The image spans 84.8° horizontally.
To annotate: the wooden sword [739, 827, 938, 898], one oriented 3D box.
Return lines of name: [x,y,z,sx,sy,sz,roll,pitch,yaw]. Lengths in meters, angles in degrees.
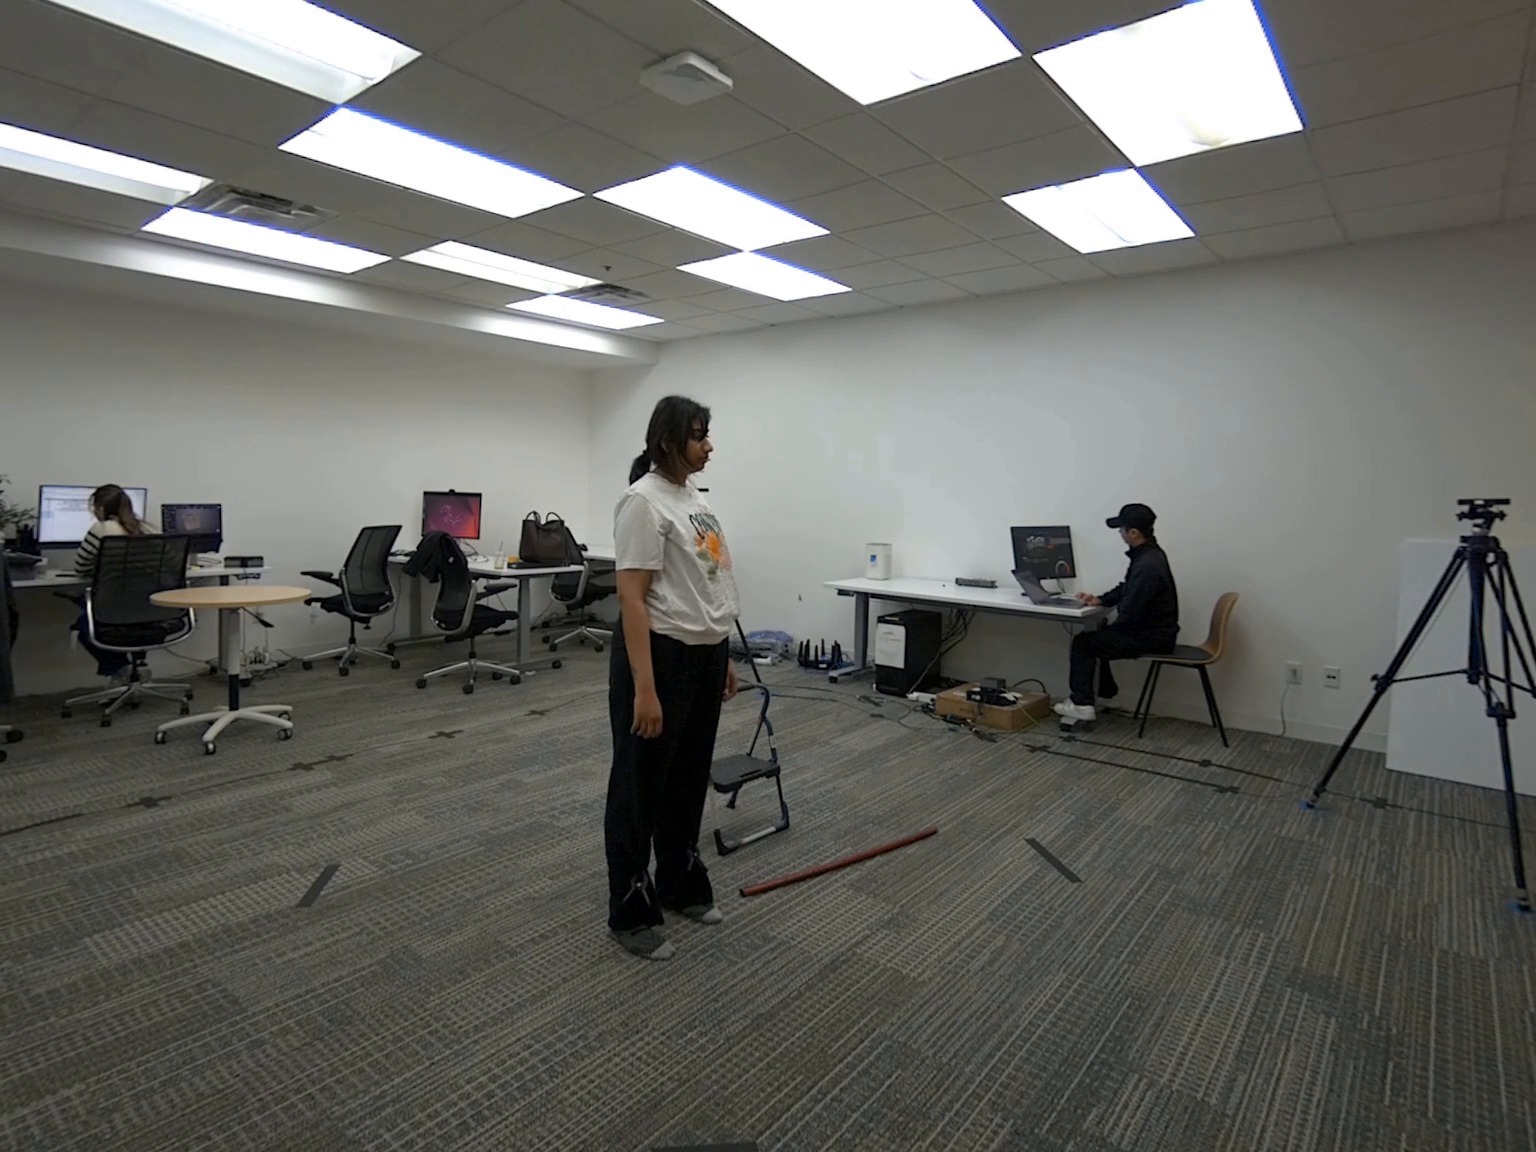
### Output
wooden sword: [0.290,1.039,3.206,0.994,0.051,0.025,-3,-5,-38]
